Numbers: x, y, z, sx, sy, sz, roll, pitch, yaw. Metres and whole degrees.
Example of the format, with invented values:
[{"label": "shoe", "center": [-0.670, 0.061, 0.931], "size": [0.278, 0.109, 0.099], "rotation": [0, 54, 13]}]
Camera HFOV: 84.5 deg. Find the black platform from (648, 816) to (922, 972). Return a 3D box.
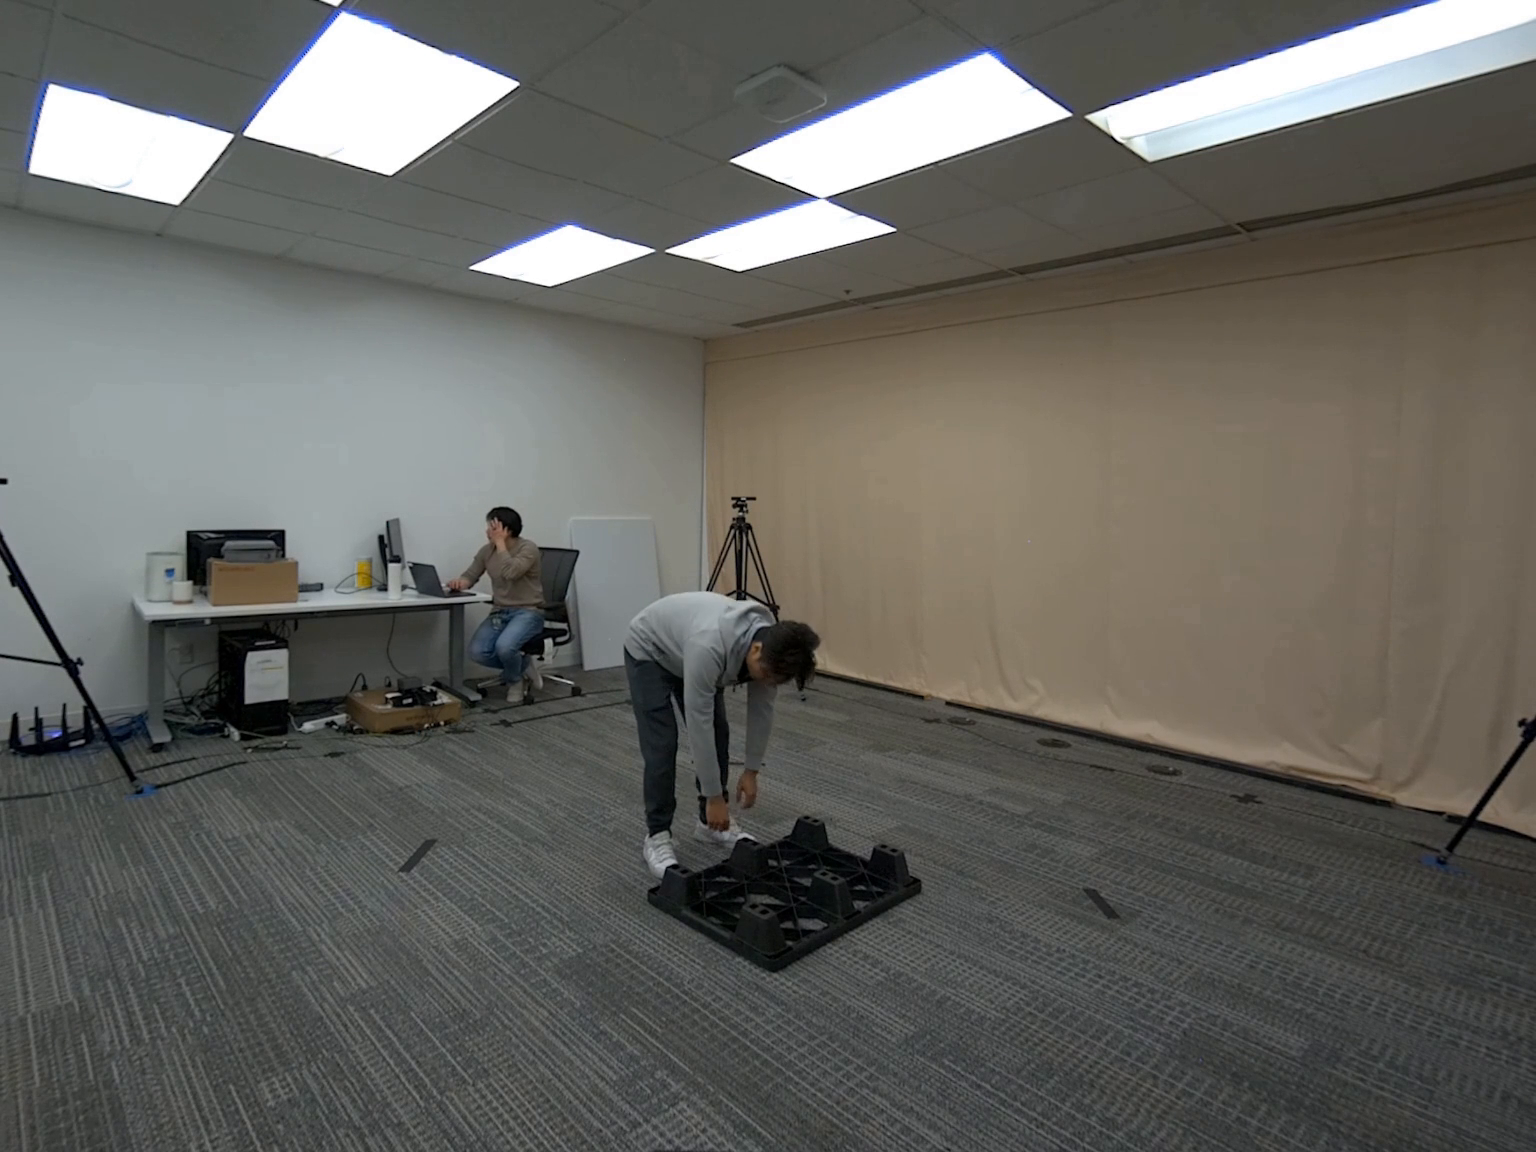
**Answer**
[{"label": "black platform", "center": [0.064, 1.062, 2.944], "size": [0.620, 0.143, 0.788], "rotation": [6, 7, 43]}]
